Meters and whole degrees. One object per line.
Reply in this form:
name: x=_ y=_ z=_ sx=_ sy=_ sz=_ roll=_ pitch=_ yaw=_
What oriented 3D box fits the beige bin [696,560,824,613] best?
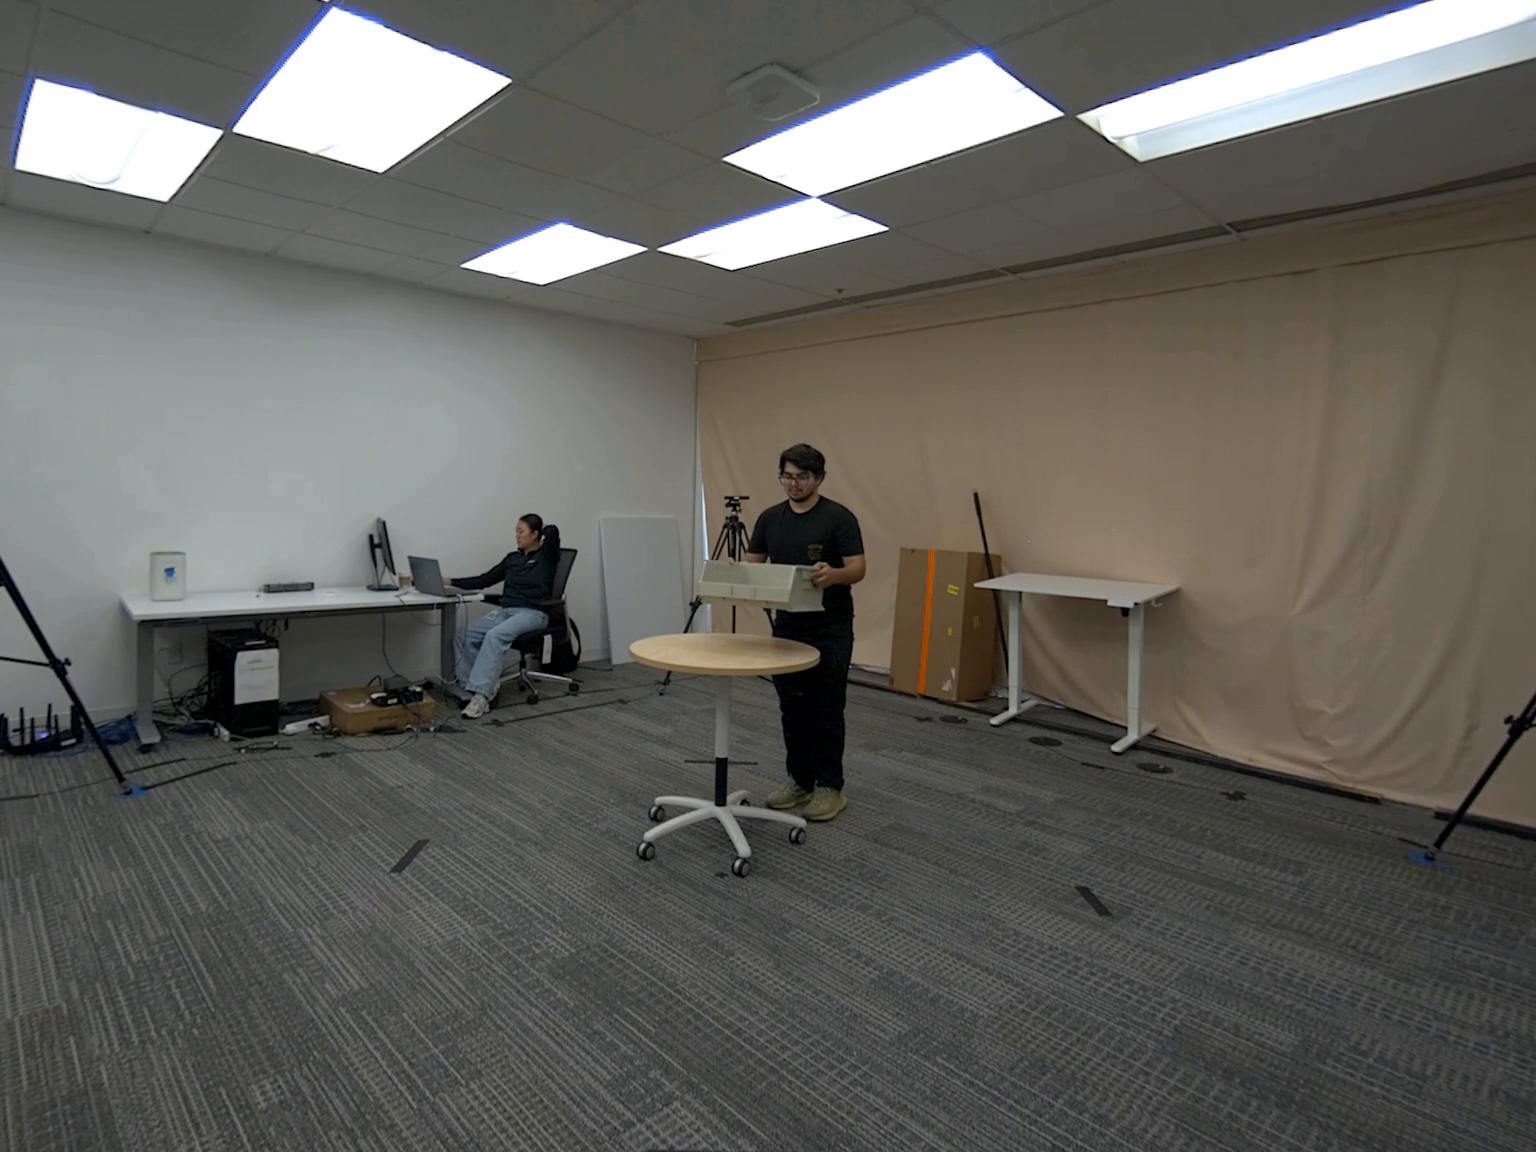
beige bin: x=-0.024 y=0.040 z=3.446 sx=0.431 sy=0.189 sz=0.369 roll=3 pitch=-1 yaw=28
